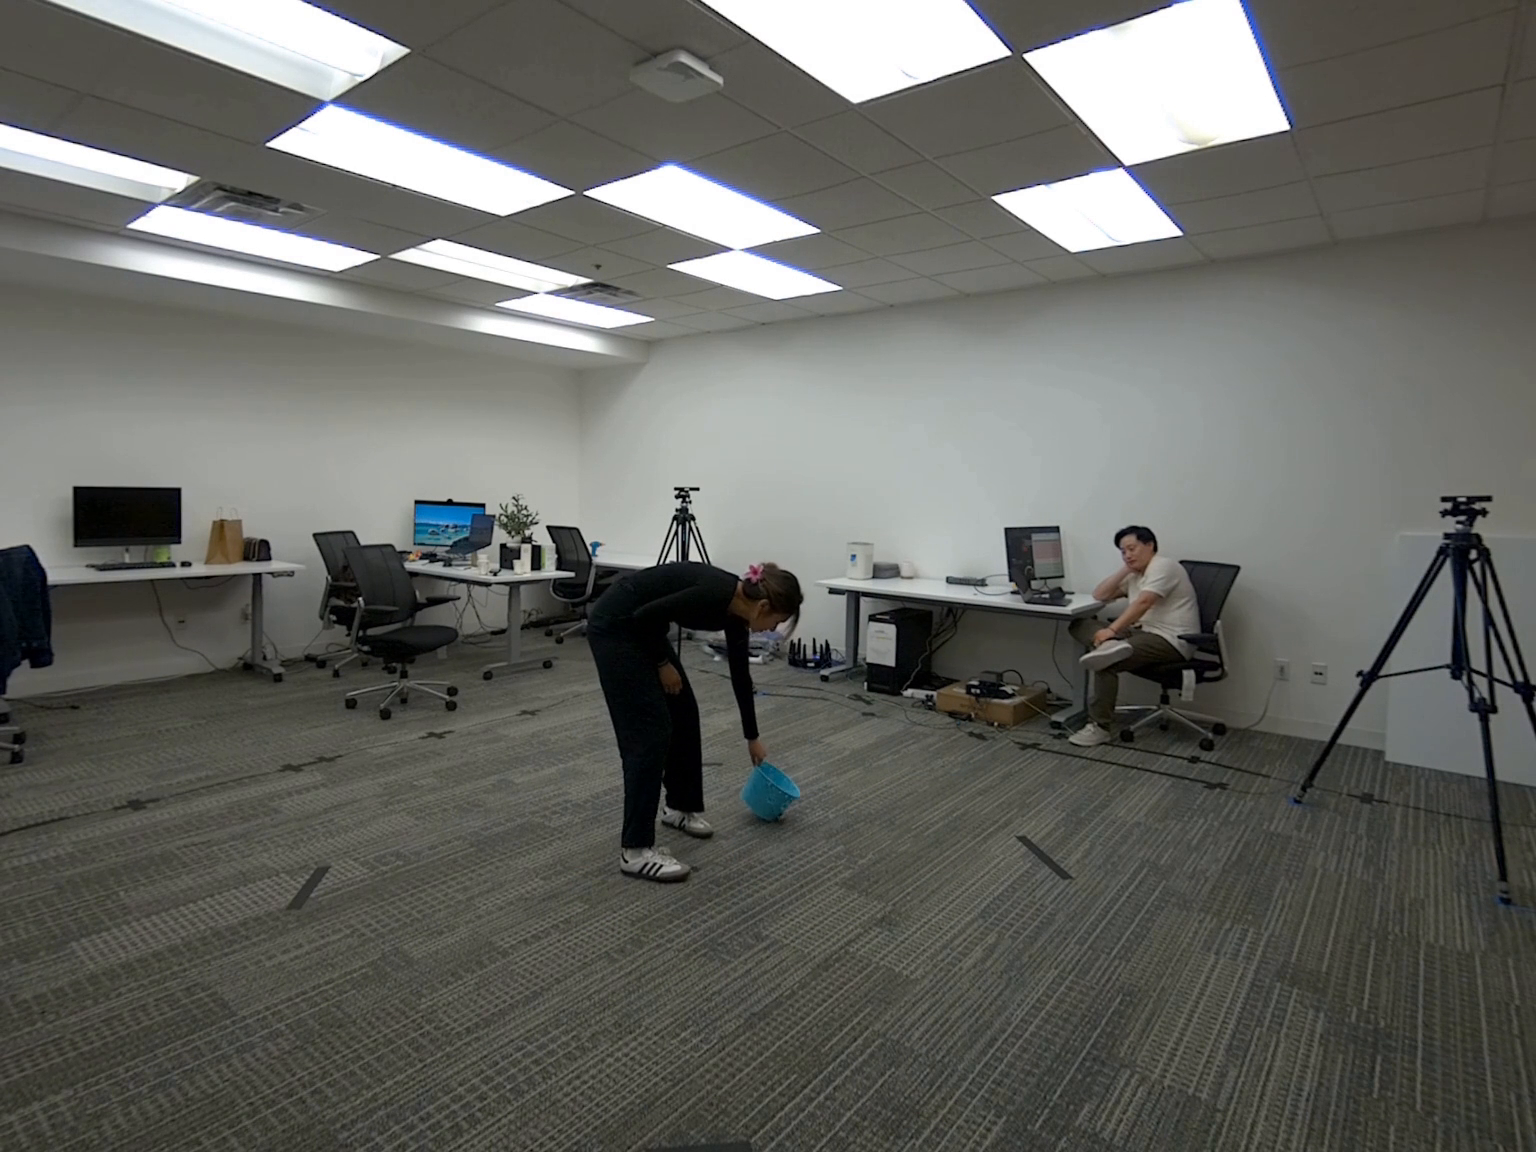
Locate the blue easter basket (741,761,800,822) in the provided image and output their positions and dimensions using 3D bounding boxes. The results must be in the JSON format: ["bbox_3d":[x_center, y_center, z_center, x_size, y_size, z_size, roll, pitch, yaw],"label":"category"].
[{"bbox_3d":[-0.020,0.912,3.592,0.242,0.156,0.246,34,7,-7],"label":"blue easter basket"}]
